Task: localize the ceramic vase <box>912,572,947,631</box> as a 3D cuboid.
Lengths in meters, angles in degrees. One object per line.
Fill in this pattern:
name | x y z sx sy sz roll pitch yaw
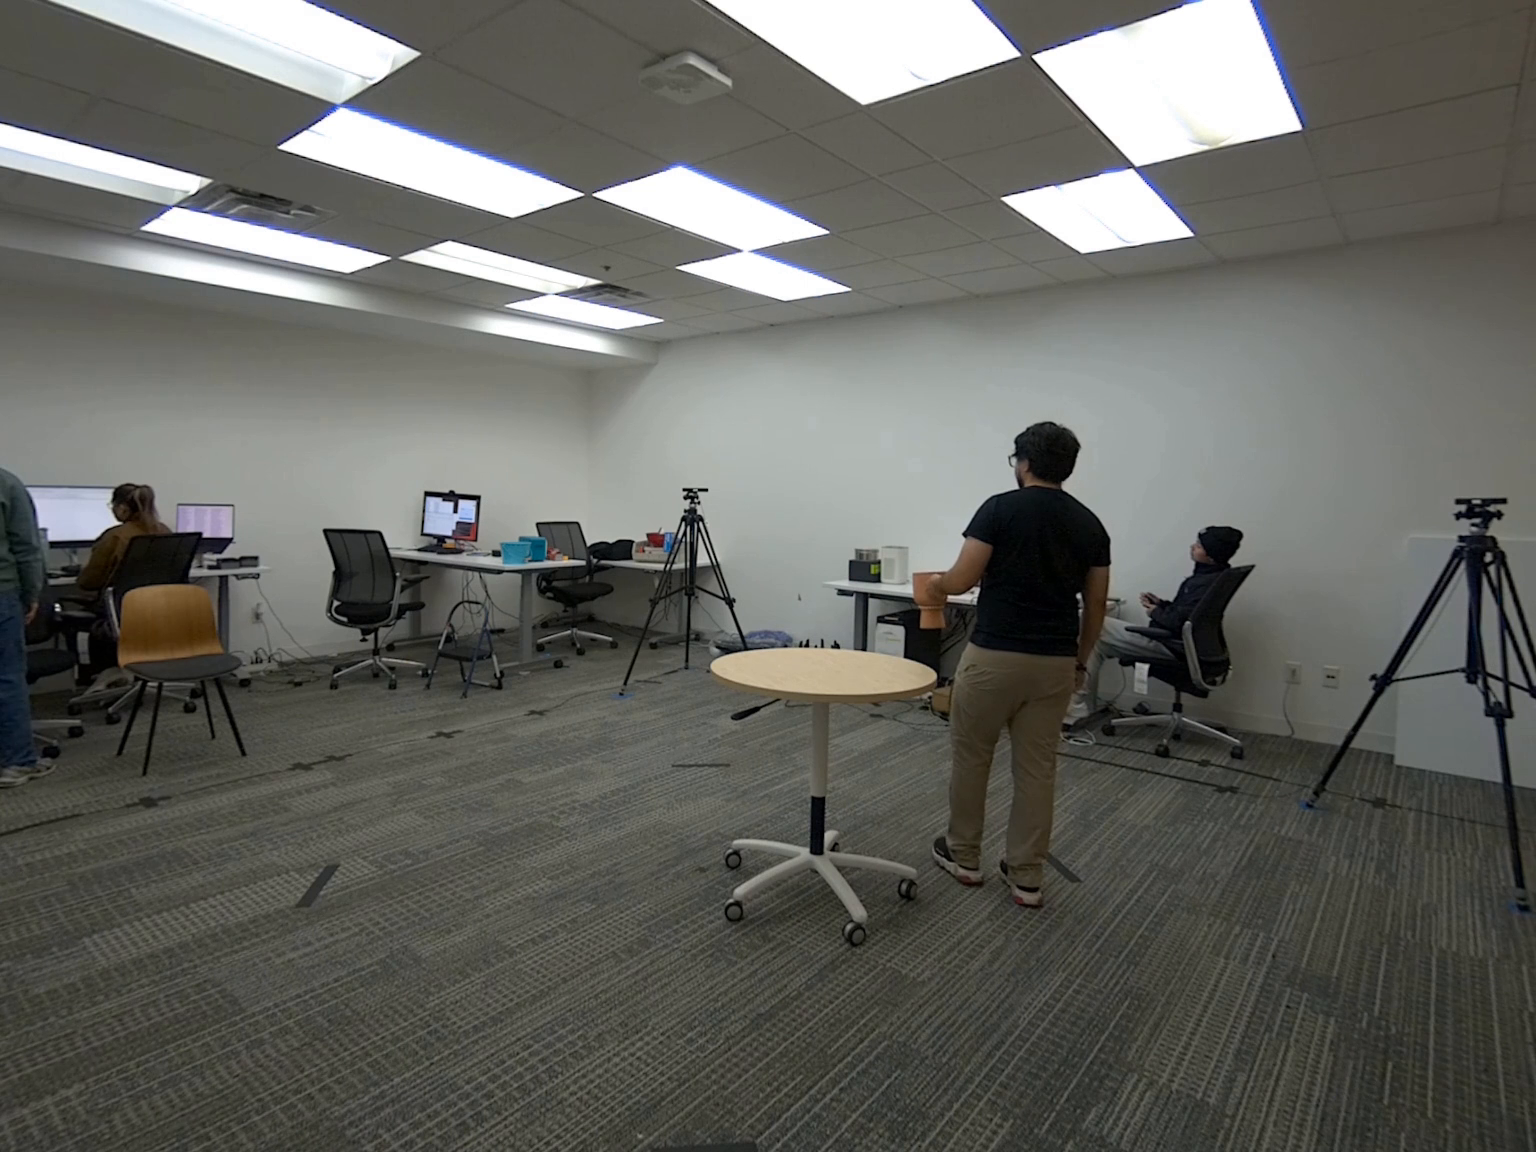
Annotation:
ceramic vase | 0.638 0.092 3.370 0.139 0.220 0.154 -3 -1 42
